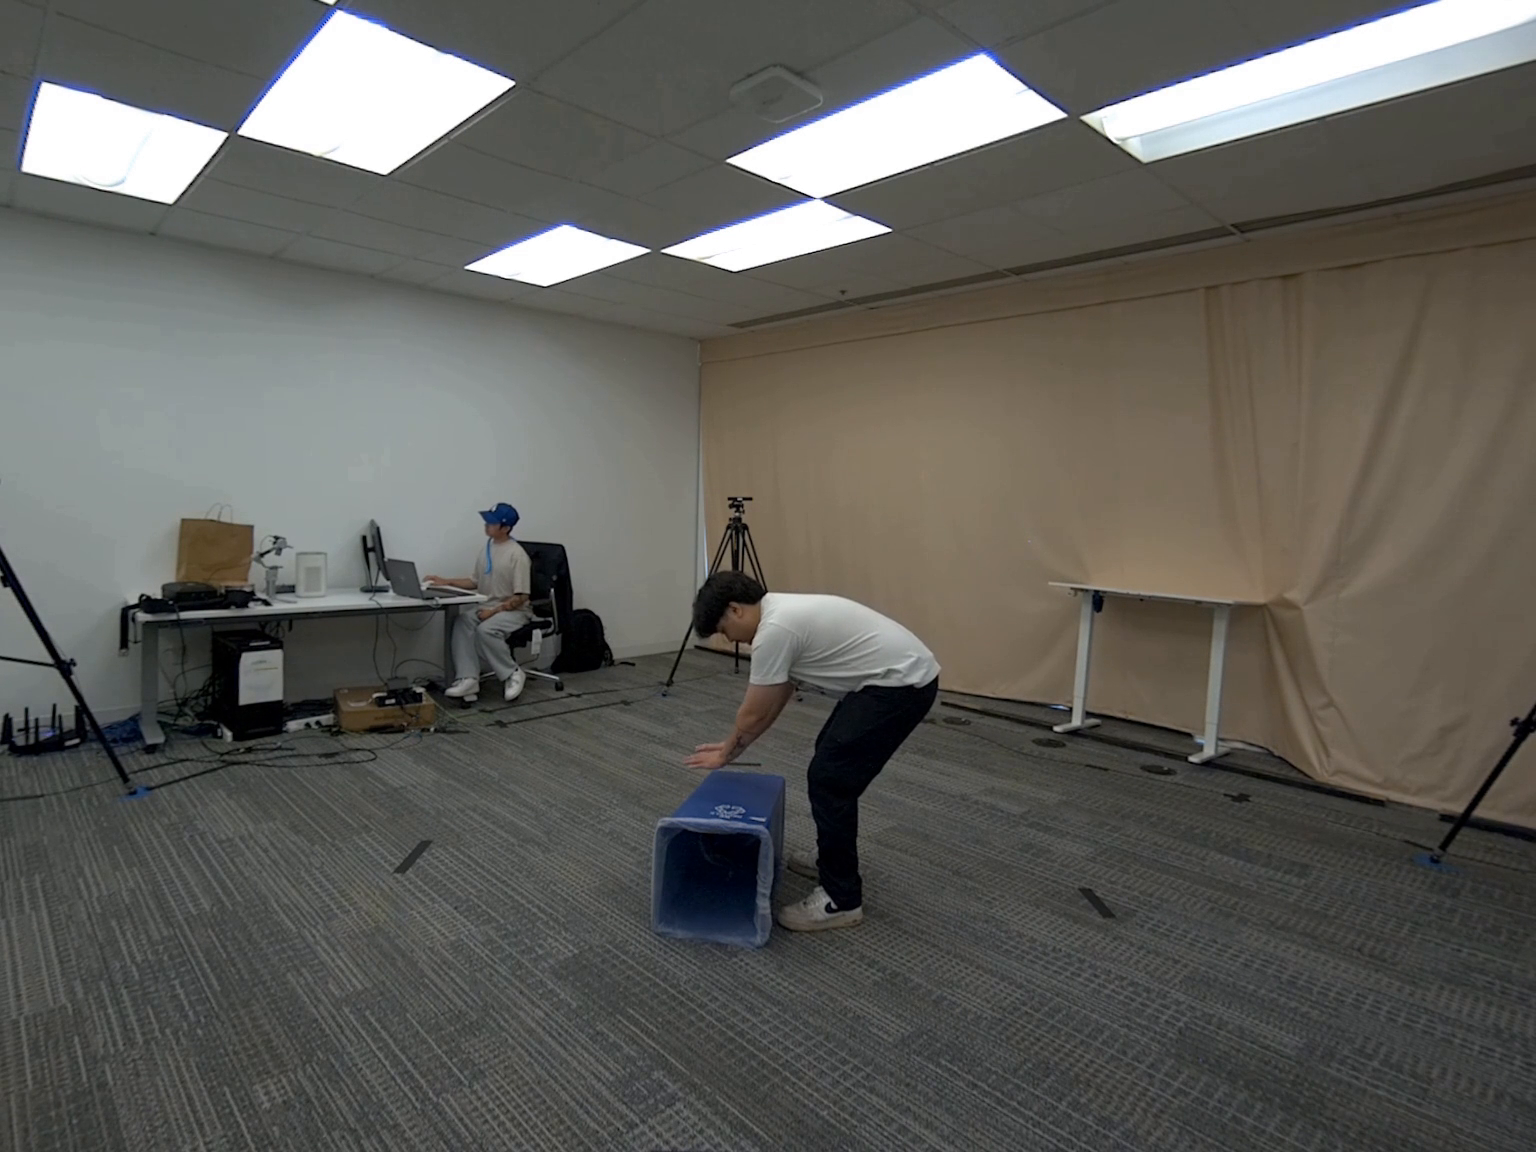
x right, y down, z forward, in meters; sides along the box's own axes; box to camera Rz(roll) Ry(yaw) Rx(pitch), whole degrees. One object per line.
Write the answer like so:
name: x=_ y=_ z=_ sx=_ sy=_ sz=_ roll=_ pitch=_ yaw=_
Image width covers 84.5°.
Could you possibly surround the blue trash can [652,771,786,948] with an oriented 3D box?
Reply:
blue trash can: x=-0.145 y=0.949 z=2.982 sx=0.377 sy=0.378 sz=0.709 roll=2 pitch=1 yaw=7
